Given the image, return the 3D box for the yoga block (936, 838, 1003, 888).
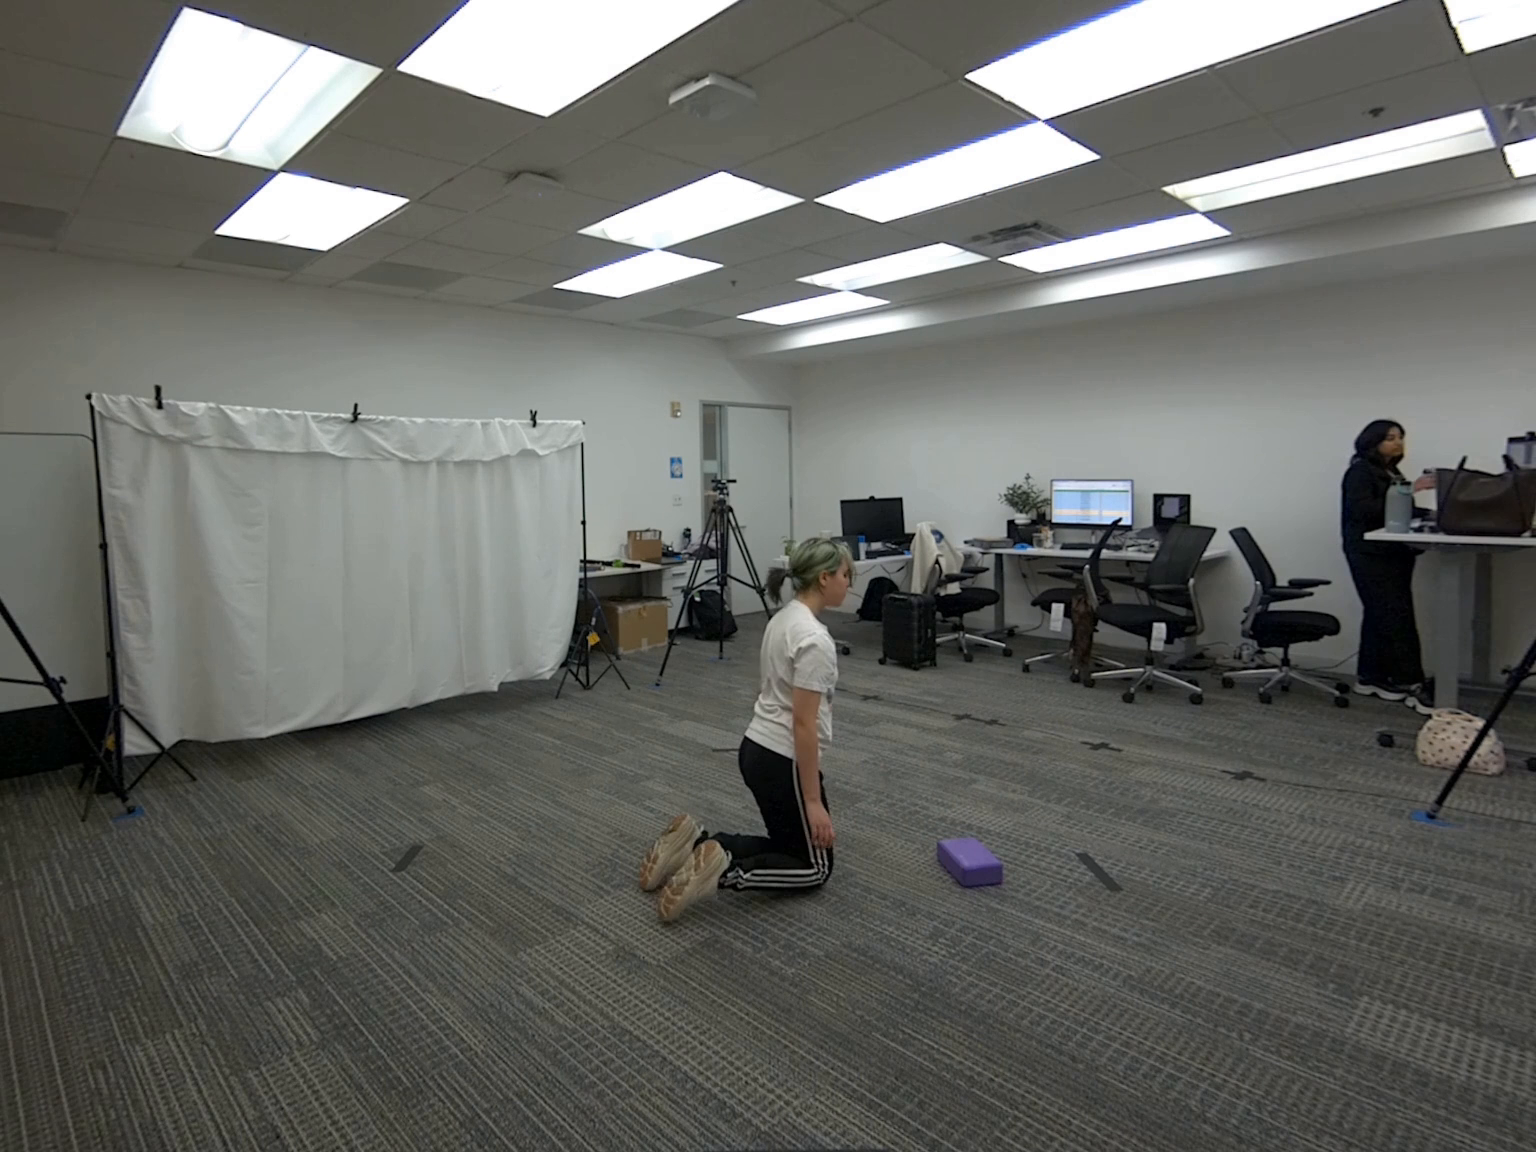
[{"bbox_3d":[0.705,0.998,3.008,0.147,0.076,0.232,-2,5,-11],"label":"yoga block"}]
